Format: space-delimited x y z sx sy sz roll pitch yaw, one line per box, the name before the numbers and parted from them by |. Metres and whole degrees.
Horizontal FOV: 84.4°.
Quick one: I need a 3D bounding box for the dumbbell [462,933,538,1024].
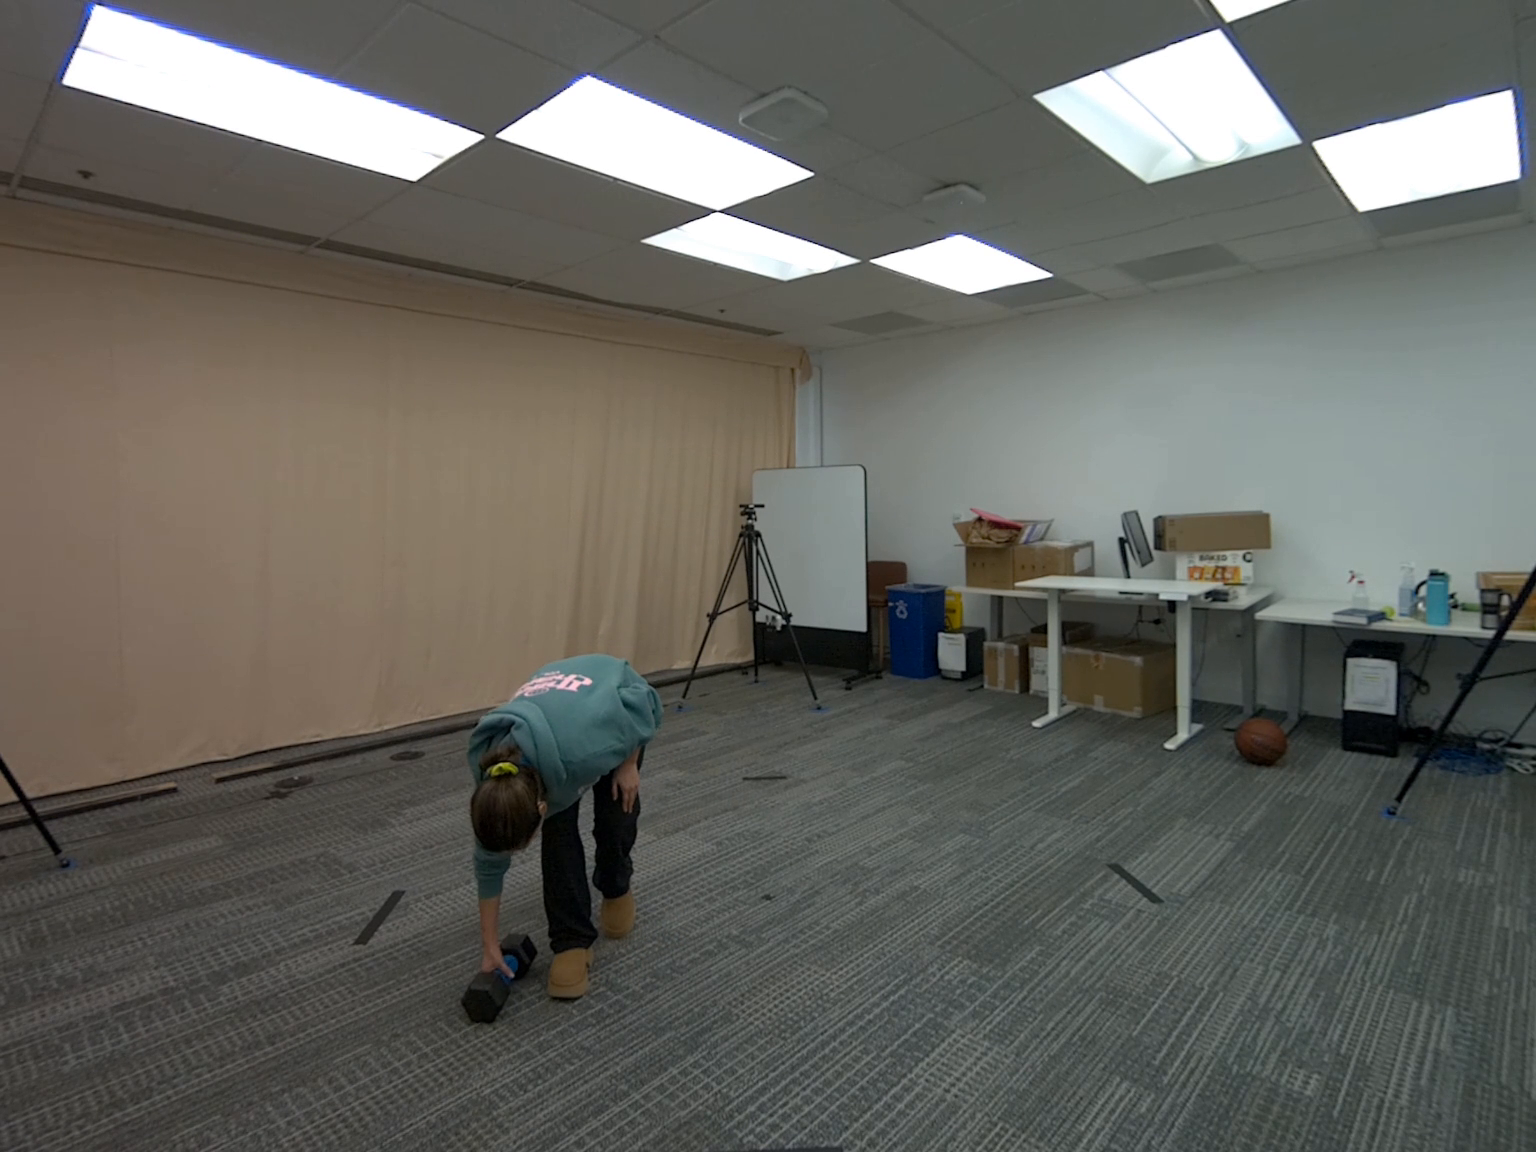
dumbbell | -0.766 1.150 2.418 0.109 0.123 0.292 -31 1 7
